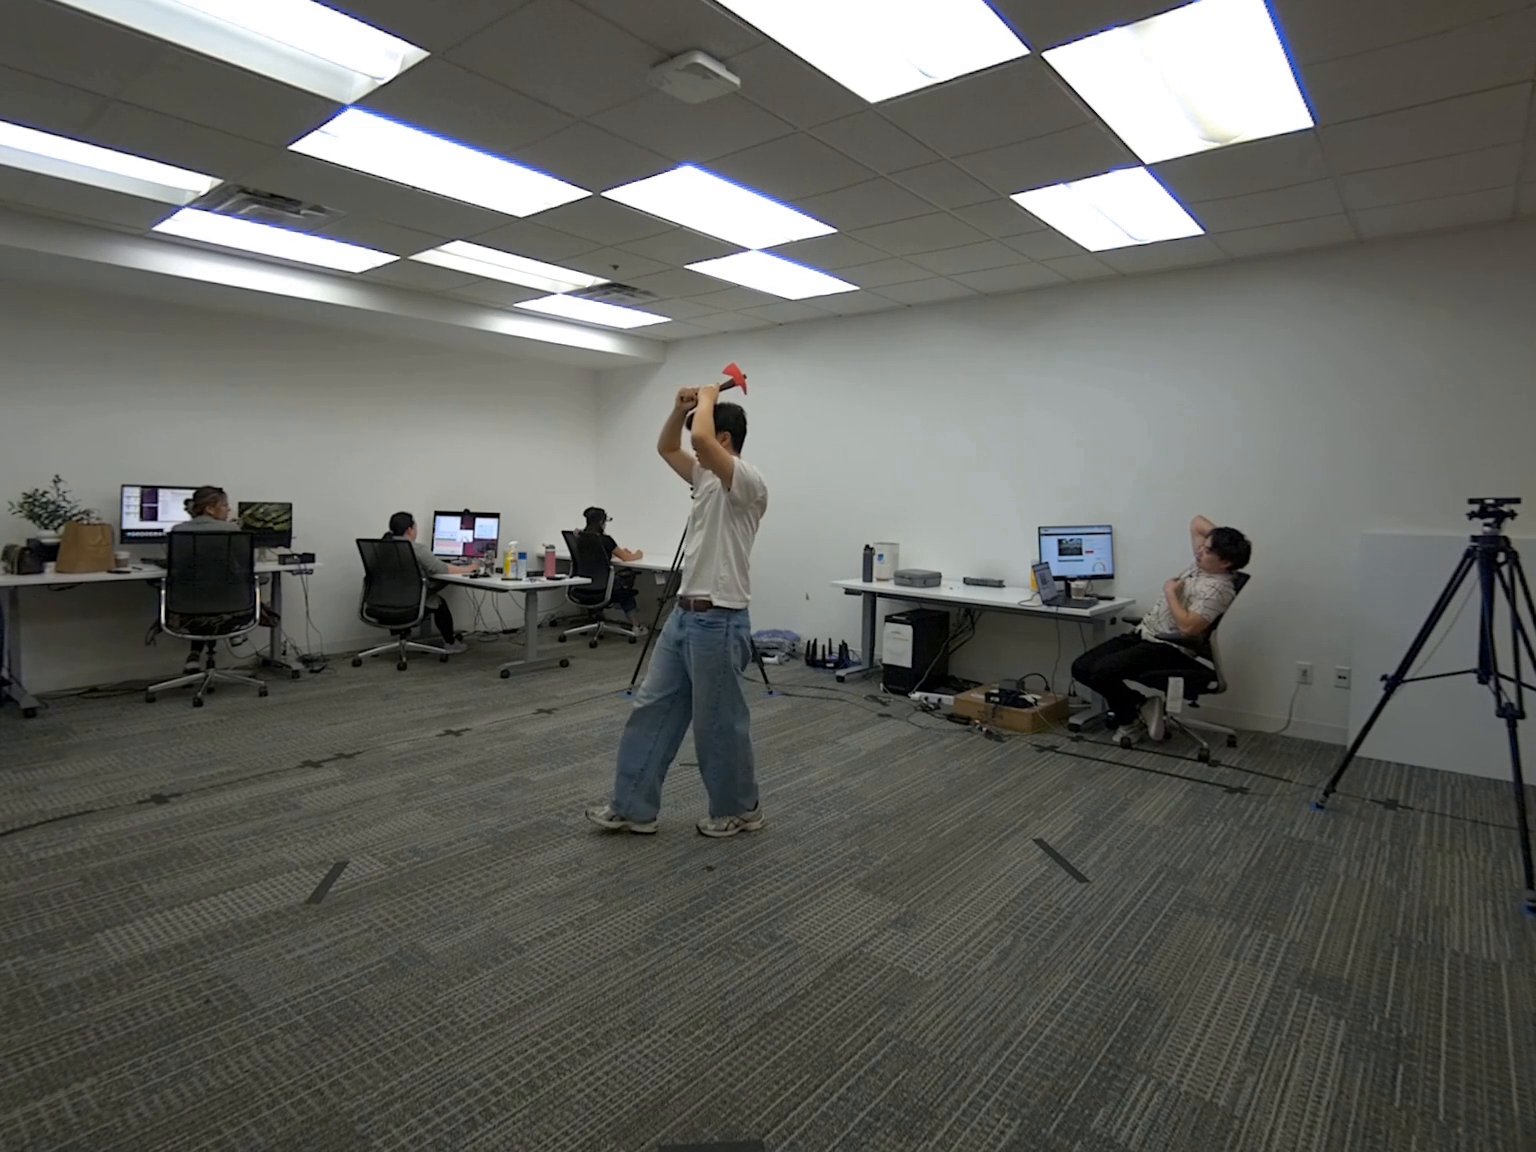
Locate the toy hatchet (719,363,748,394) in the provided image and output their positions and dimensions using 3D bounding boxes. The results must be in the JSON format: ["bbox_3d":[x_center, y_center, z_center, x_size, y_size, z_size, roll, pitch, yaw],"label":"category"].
[{"bbox_3d":[-0.230,-0.778,3.372,0.270,0.130,0.030,-4,9,2],"label":"toy hatchet"}]
